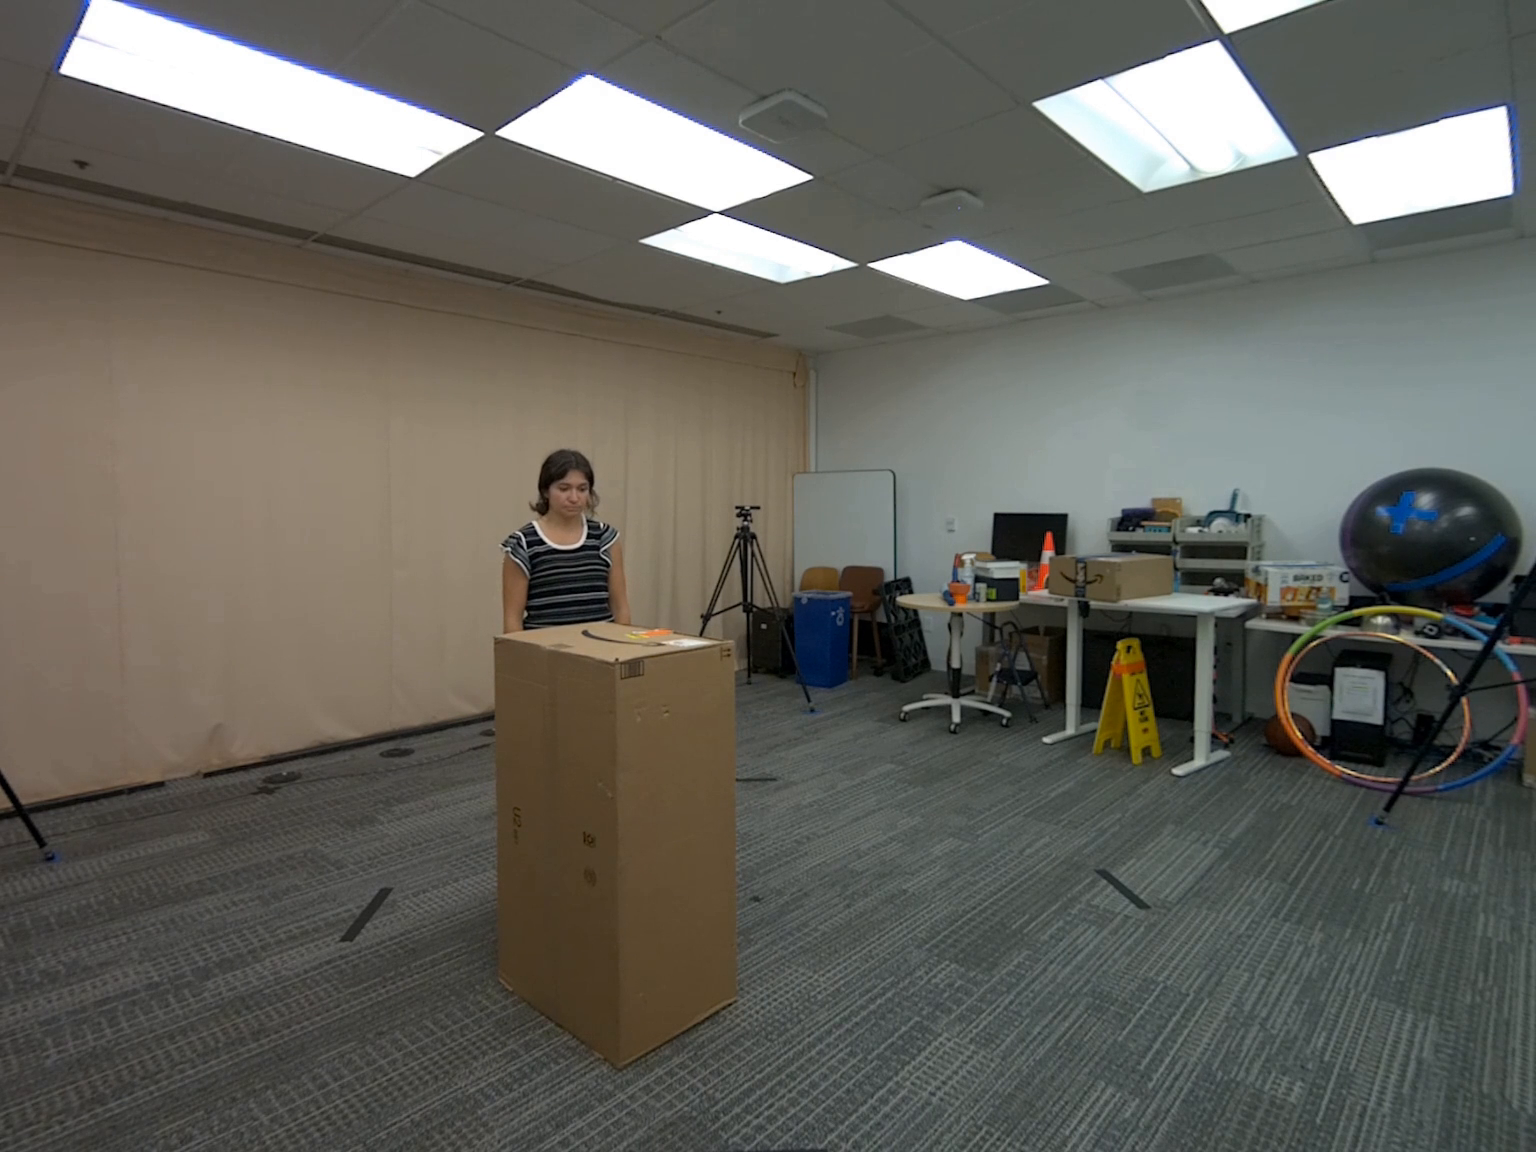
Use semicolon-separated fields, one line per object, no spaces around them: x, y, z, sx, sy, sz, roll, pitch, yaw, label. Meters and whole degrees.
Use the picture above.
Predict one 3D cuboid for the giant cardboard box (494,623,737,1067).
-0.436;0.692;2.399;0.597;1.023;0.413;3;5;44;giant cardboard box
